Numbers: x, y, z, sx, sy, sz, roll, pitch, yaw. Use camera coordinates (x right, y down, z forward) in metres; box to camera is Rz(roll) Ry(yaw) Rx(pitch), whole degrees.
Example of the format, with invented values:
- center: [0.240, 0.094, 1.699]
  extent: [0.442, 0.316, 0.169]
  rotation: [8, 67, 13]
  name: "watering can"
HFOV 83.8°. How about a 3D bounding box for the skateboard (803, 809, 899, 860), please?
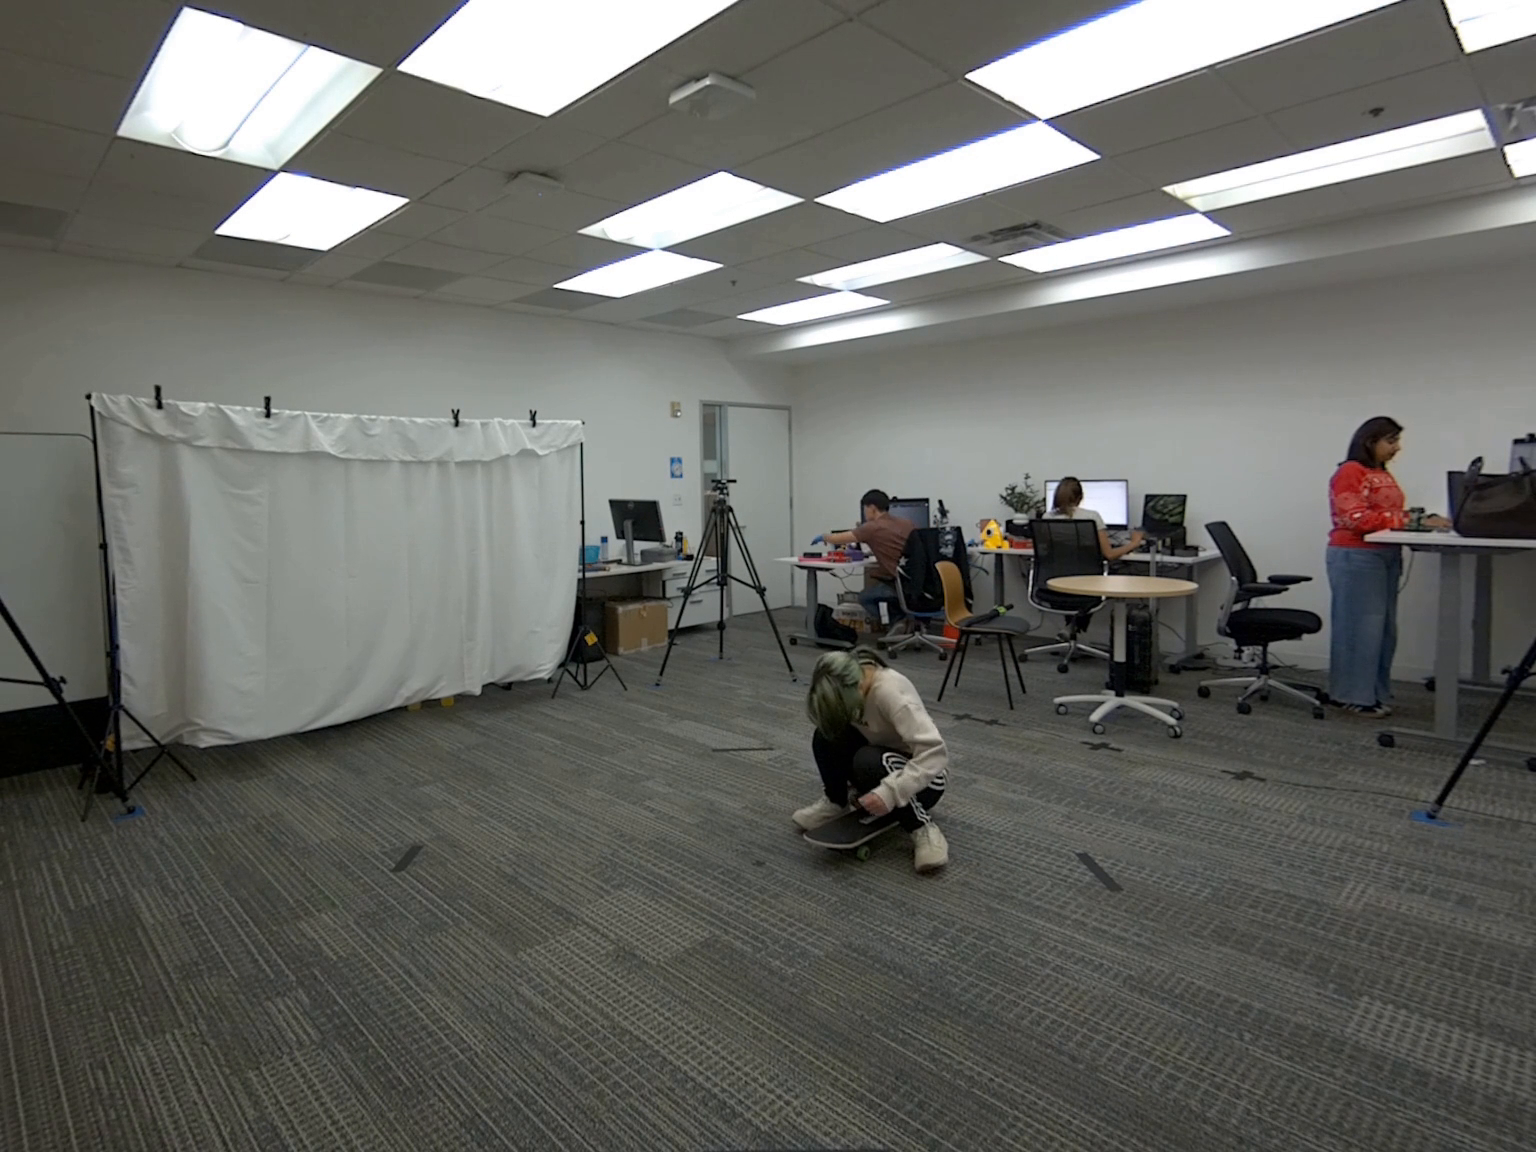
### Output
- center: [0.429, 0.960, 3.316]
  extent: [0.199, 0.110, 0.765]
  rotation: [2, 6, 43]
  name: "skateboard"
